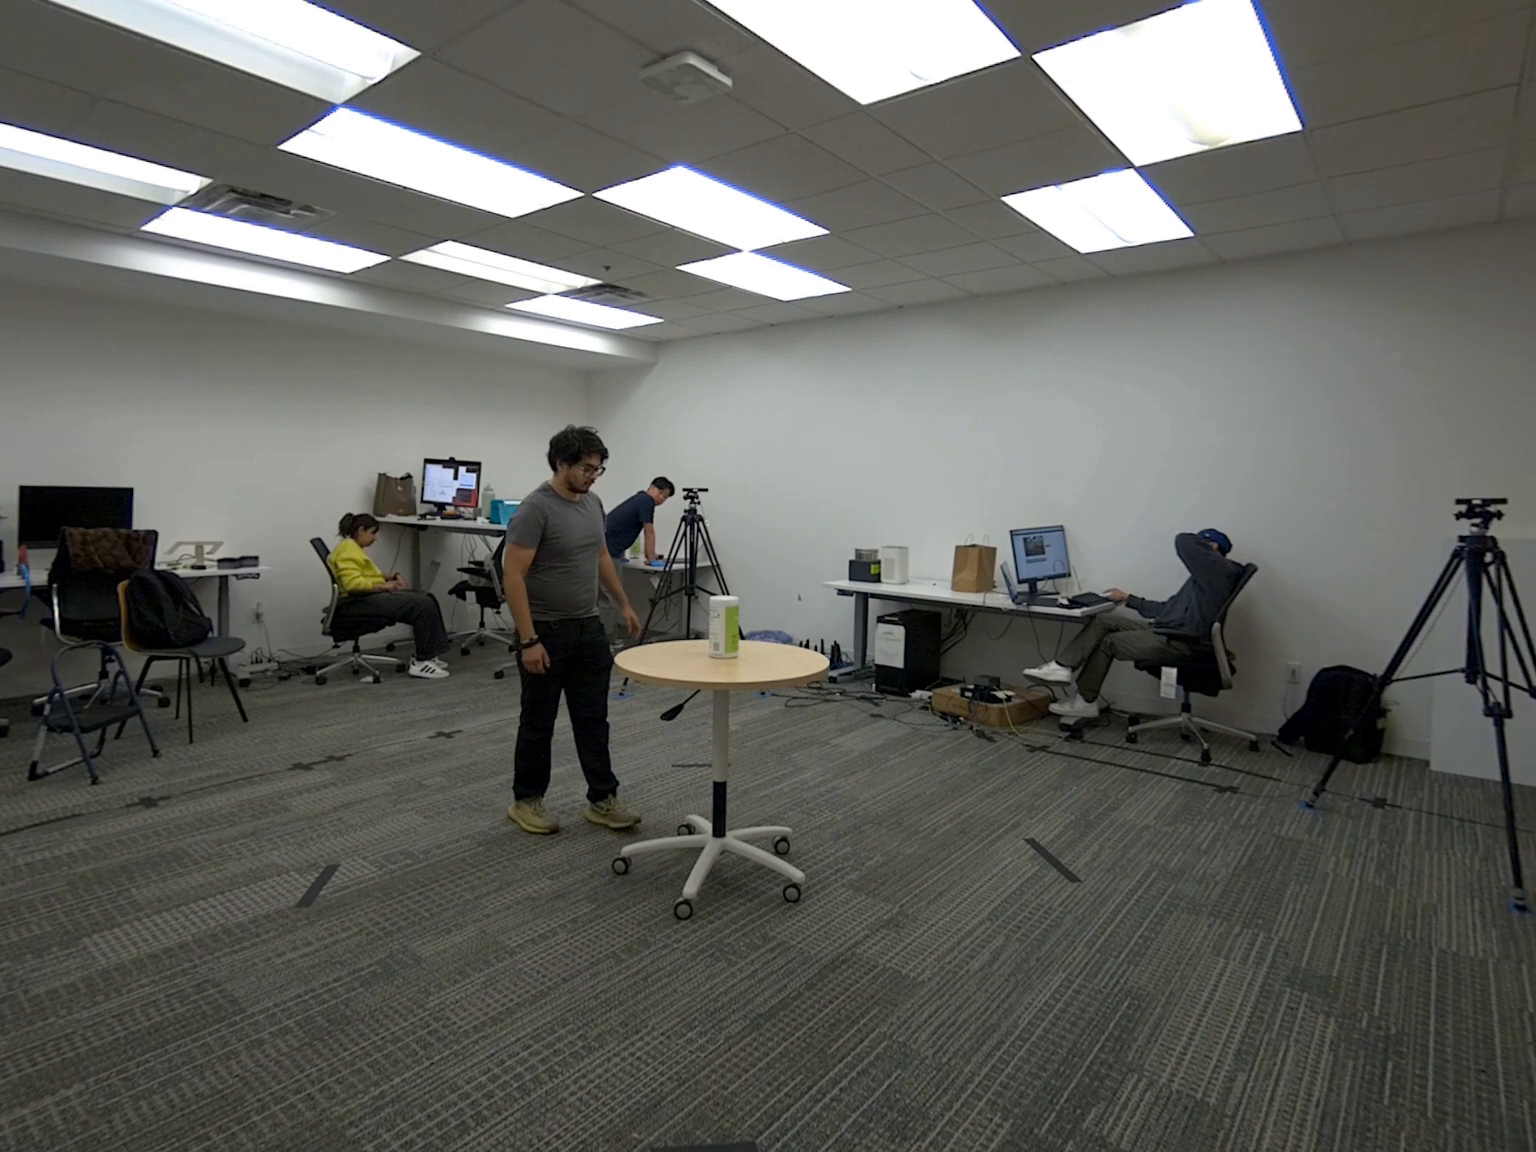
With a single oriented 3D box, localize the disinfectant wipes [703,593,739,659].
[{"bbox_3d":[-0.173,0.179,3.073,0.118,0.217,0.118,-2,3,-2],"label":"disinfectant wipes"}]
